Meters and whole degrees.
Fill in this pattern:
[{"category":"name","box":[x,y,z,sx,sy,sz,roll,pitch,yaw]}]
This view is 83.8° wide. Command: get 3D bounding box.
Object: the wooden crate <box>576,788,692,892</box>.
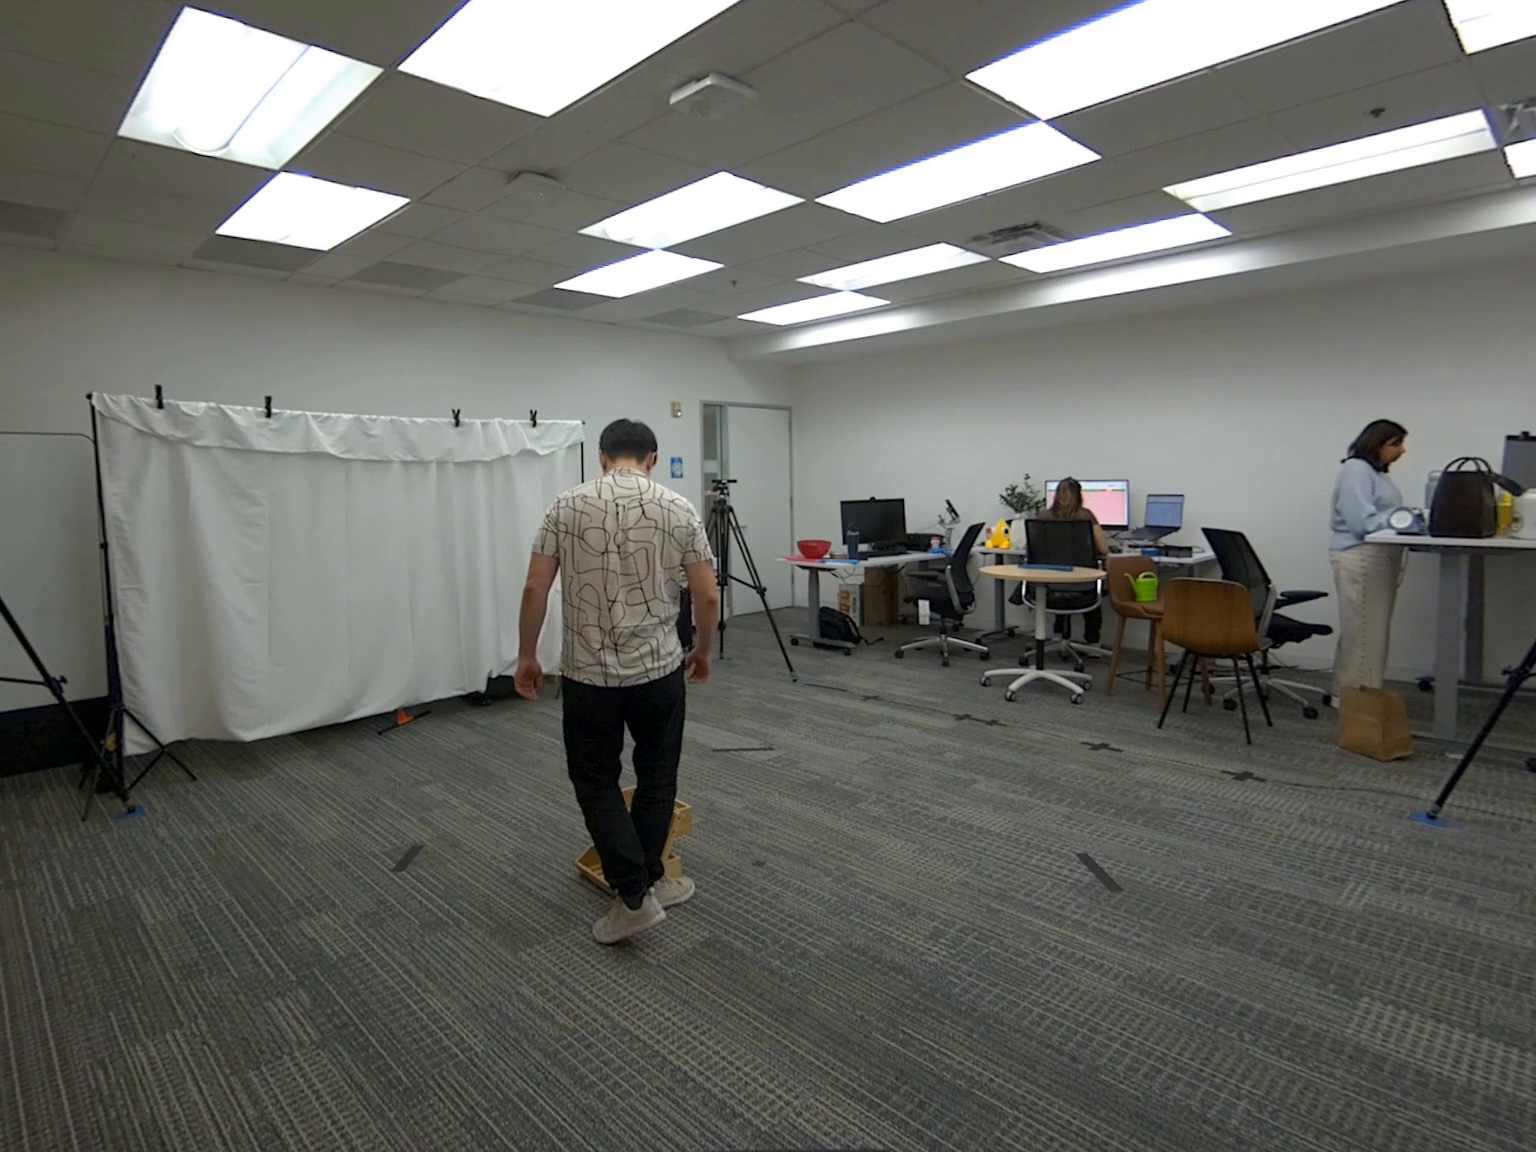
[{"category":"wooden crate","box":[-0.474,0.931,3.011,0.294,0.272,0.334,-4,6,-40]}]
